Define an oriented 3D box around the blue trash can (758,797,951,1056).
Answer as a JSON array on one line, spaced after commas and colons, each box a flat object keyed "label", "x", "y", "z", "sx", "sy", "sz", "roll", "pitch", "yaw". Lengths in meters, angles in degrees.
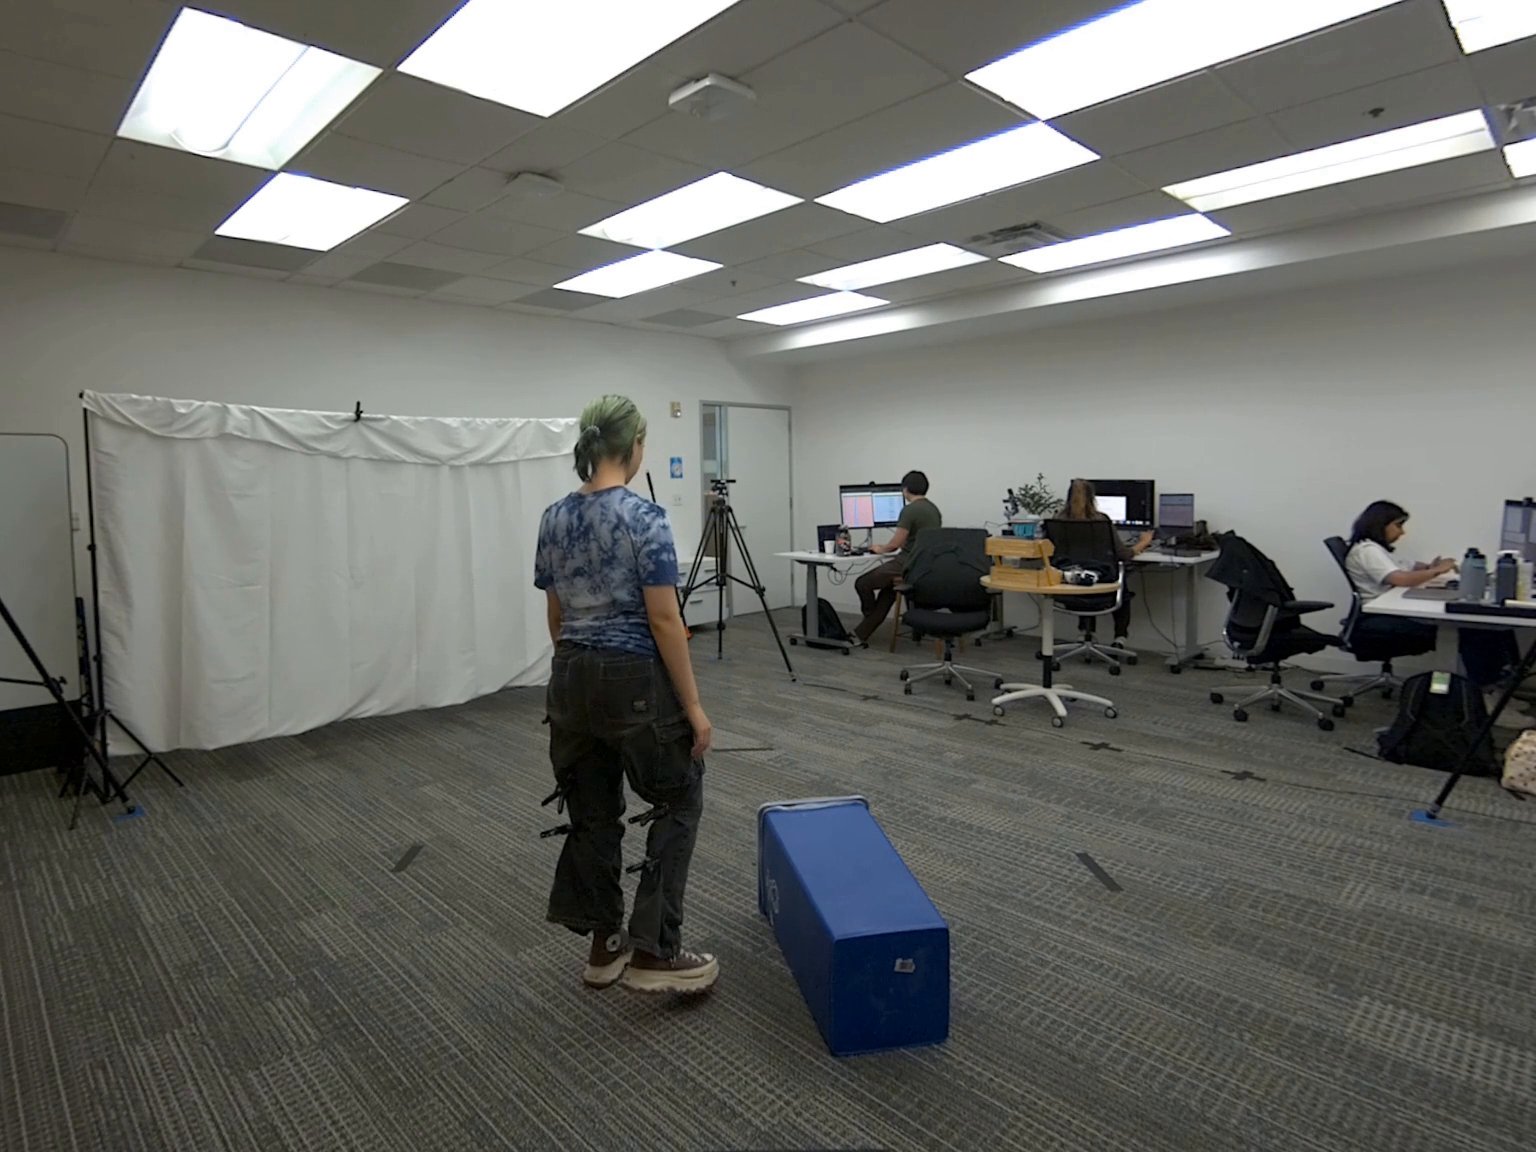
[{"label": "blue trash can", "x": 0.229, "y": 0.946, "z": 2.423, "sx": 0.374, "sy": 0.372, "sz": 0.726, "roll": -2, "pitch": 8, "yaw": -12}]
